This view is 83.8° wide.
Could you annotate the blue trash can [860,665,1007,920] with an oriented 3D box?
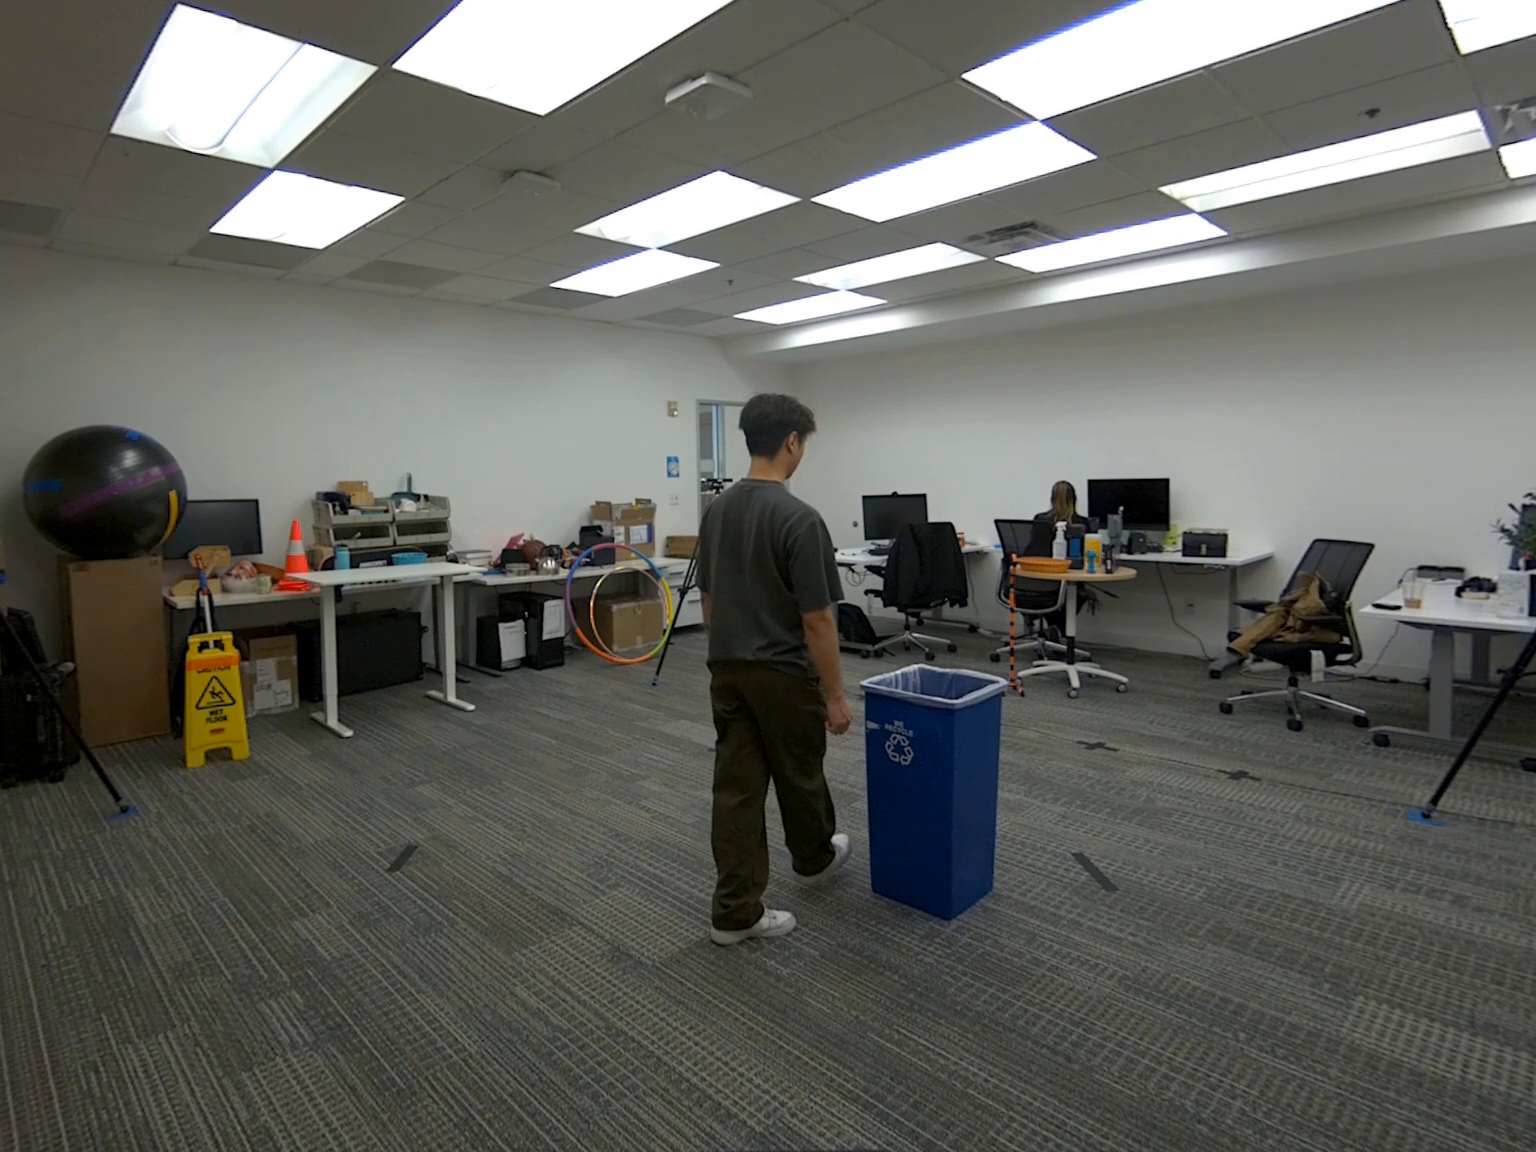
[{"bbox_3d":[0.561,0.704,2.869,0.390,0.710,0.364,4,7,41],"label":"blue trash can"}]
